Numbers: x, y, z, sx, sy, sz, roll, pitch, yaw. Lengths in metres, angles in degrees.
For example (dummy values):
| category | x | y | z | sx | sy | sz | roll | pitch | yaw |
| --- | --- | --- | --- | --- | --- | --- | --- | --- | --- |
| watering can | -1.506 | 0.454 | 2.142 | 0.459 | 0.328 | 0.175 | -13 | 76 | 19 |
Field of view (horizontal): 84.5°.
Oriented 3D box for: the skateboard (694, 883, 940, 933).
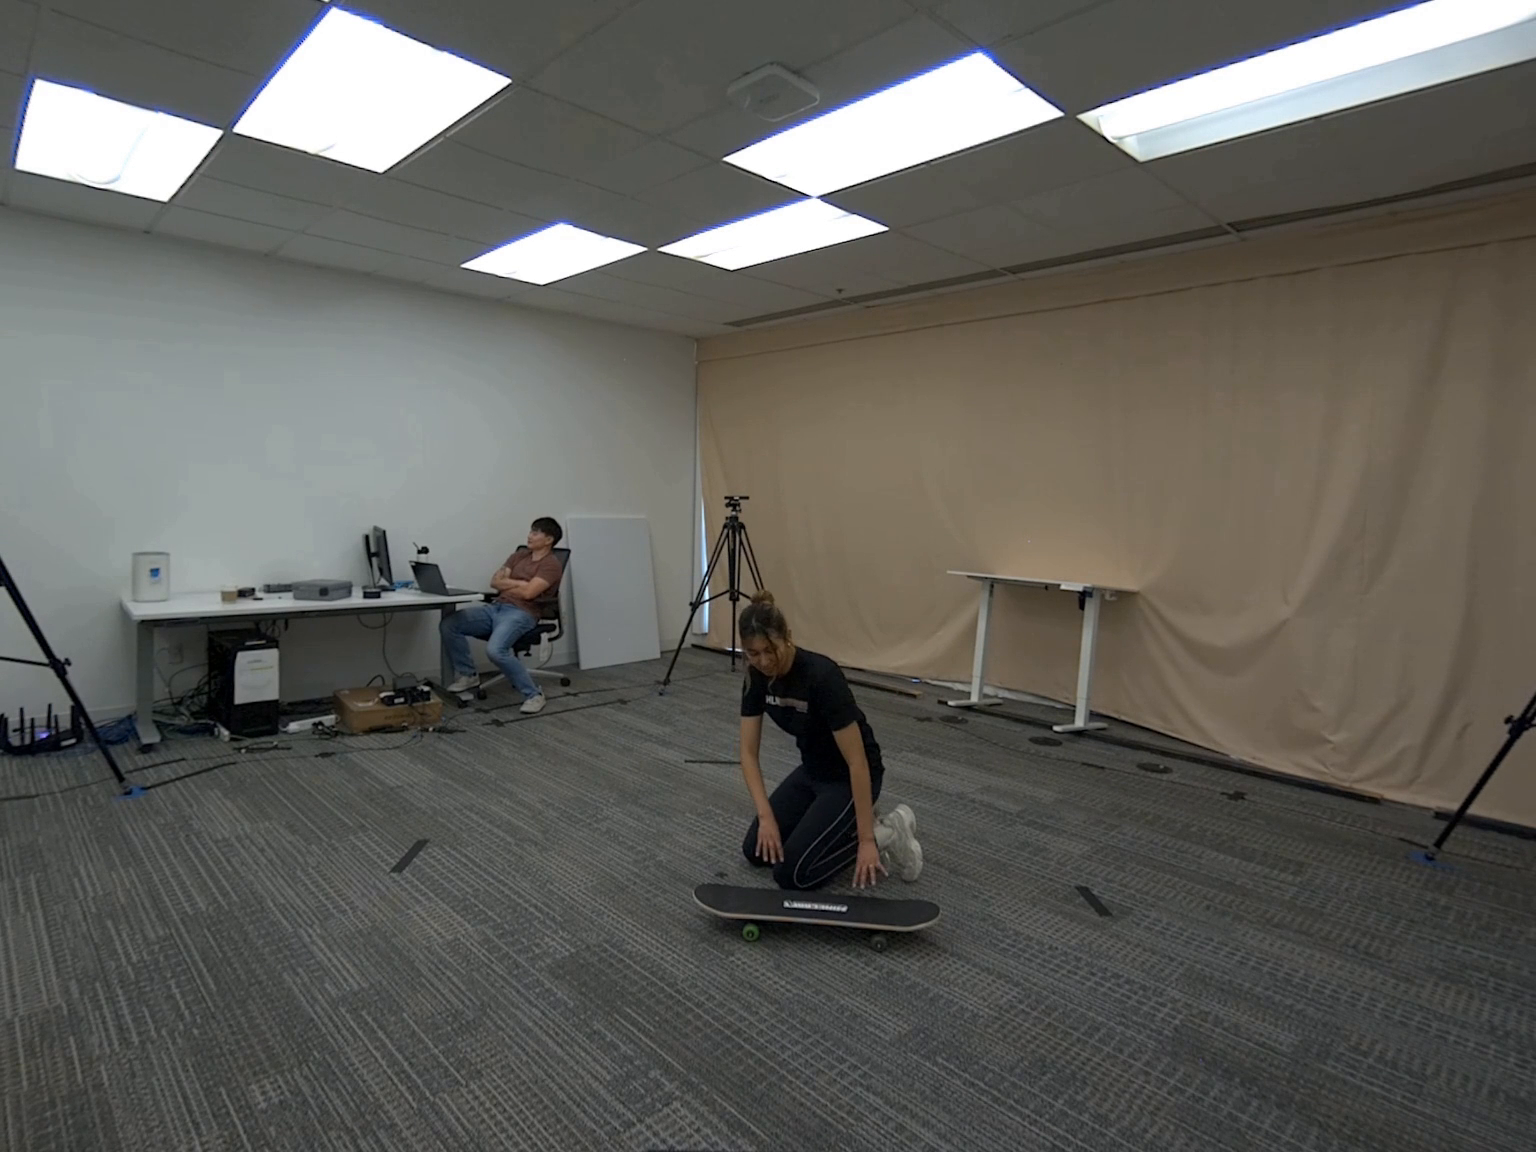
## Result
| category | x | y | z | sx | sy | sz | roll | pitch | yaw |
| --- | --- | --- | --- | --- | --- | --- | --- | --- | --- |
| skateboard | 0.136 | 1.084 | 2.704 | 0.789 | 0.110 | 0.193 | 2 | 4 | 6 |
